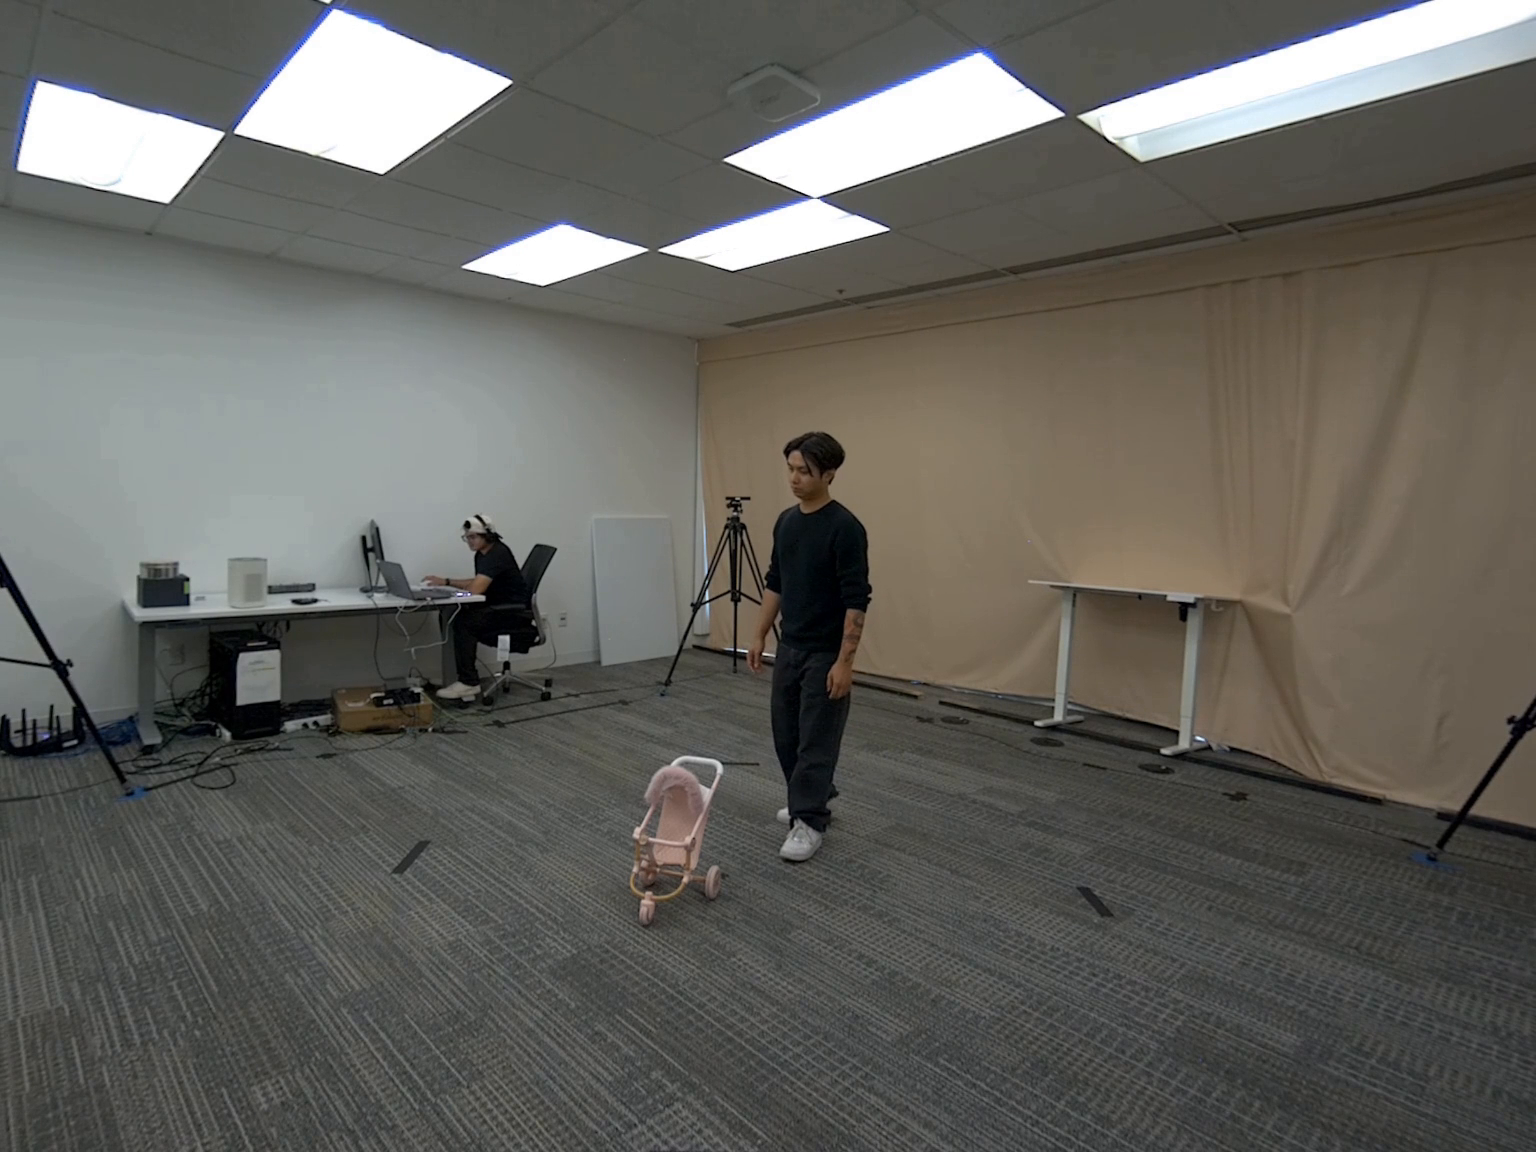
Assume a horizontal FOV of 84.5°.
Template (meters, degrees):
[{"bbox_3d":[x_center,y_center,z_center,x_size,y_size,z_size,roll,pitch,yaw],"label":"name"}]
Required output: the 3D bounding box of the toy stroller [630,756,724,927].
[{"bbox_3d":[-0.335,0.898,2.905,0.287,0.539,0.332,2,-12,24],"label":"toy stroller"}]
